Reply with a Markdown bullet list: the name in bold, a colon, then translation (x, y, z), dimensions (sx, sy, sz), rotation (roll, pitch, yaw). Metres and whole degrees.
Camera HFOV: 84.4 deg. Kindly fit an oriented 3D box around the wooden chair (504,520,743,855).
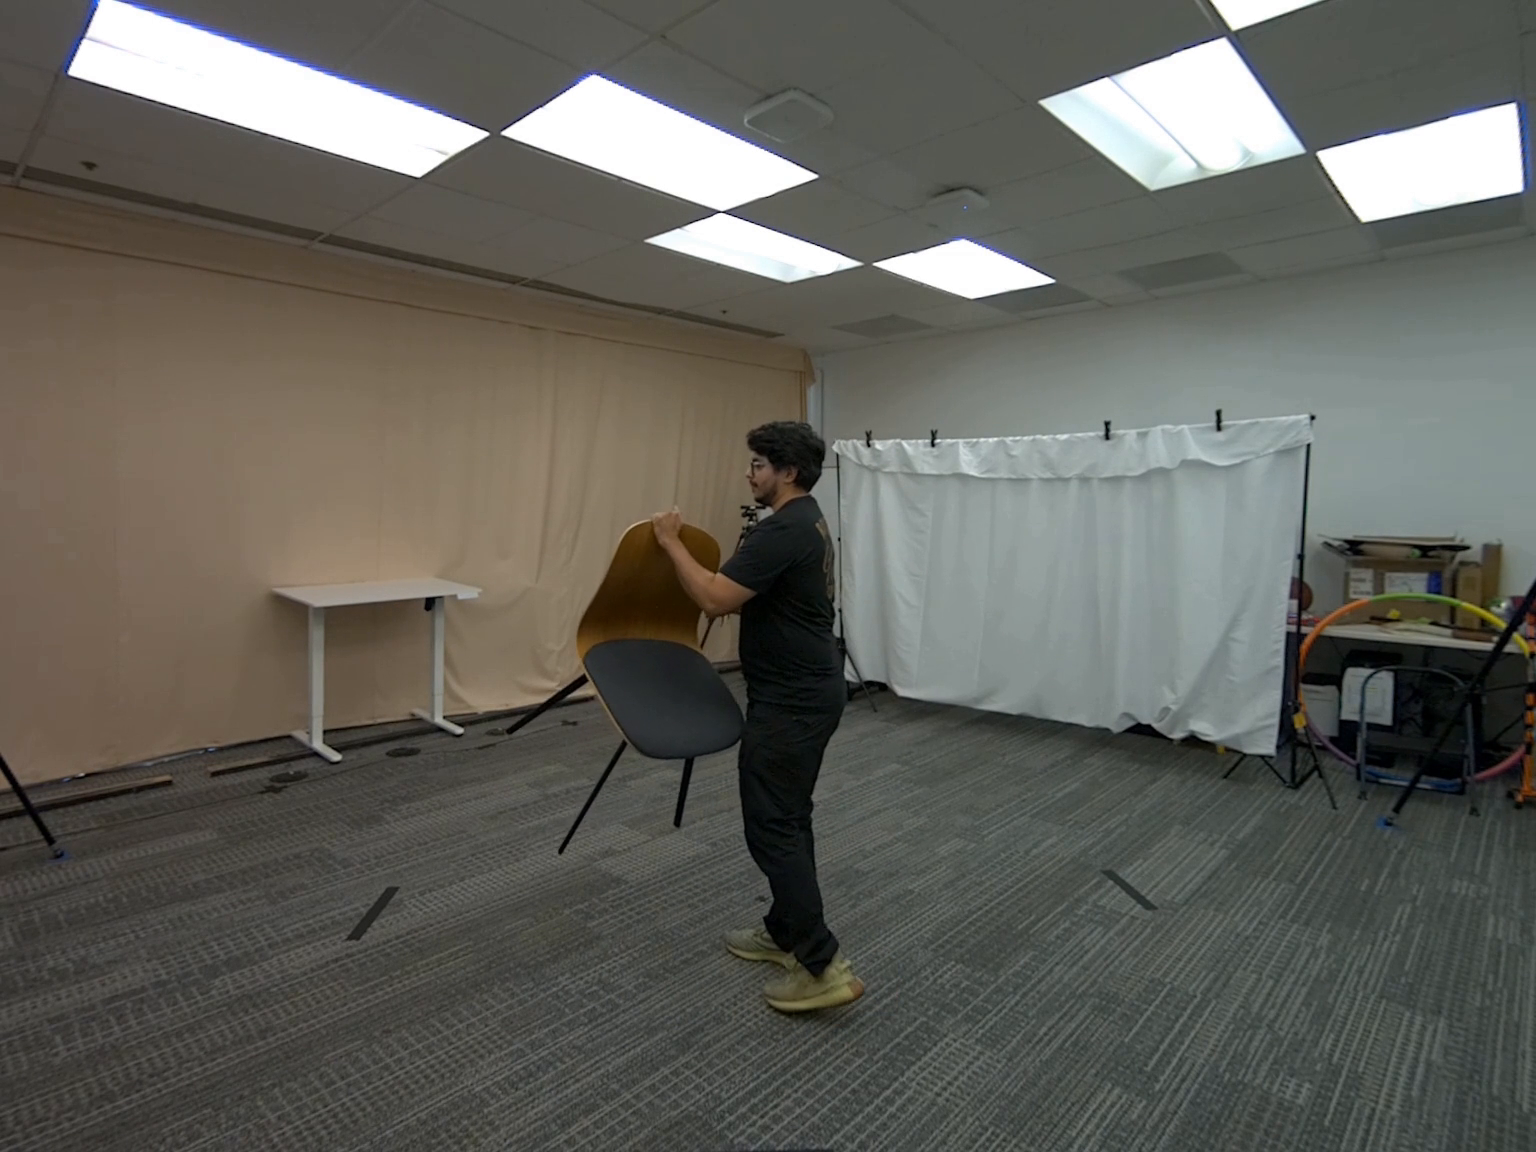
- **wooden chair**: translation (-0.343, 0.344, 2.493), dimensions (0.462, 0.877, 0.541), rotation (5, 34, -44)
